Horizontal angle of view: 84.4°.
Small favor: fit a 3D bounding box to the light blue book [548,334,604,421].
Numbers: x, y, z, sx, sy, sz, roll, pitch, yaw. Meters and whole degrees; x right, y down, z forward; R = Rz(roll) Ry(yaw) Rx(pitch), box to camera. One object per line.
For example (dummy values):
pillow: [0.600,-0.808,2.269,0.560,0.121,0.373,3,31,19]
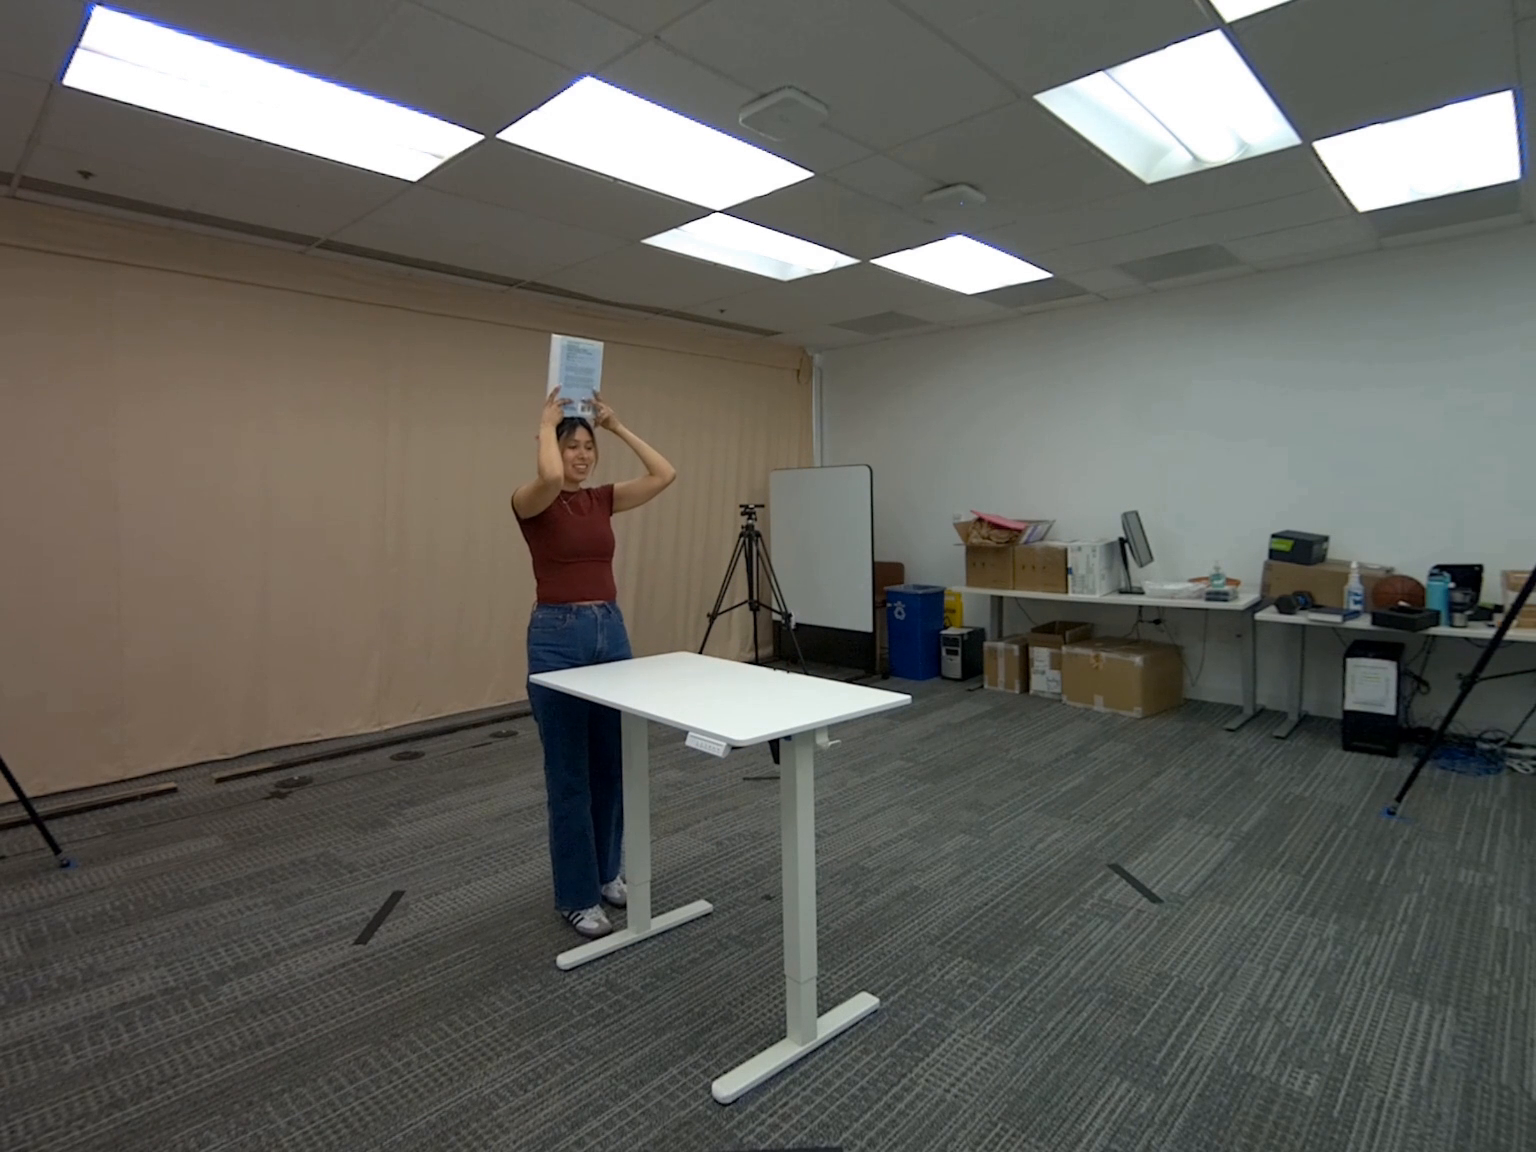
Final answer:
light blue book: [-0.652,-0.671,2.844,0.061,0.260,0.186,13,11,34]
